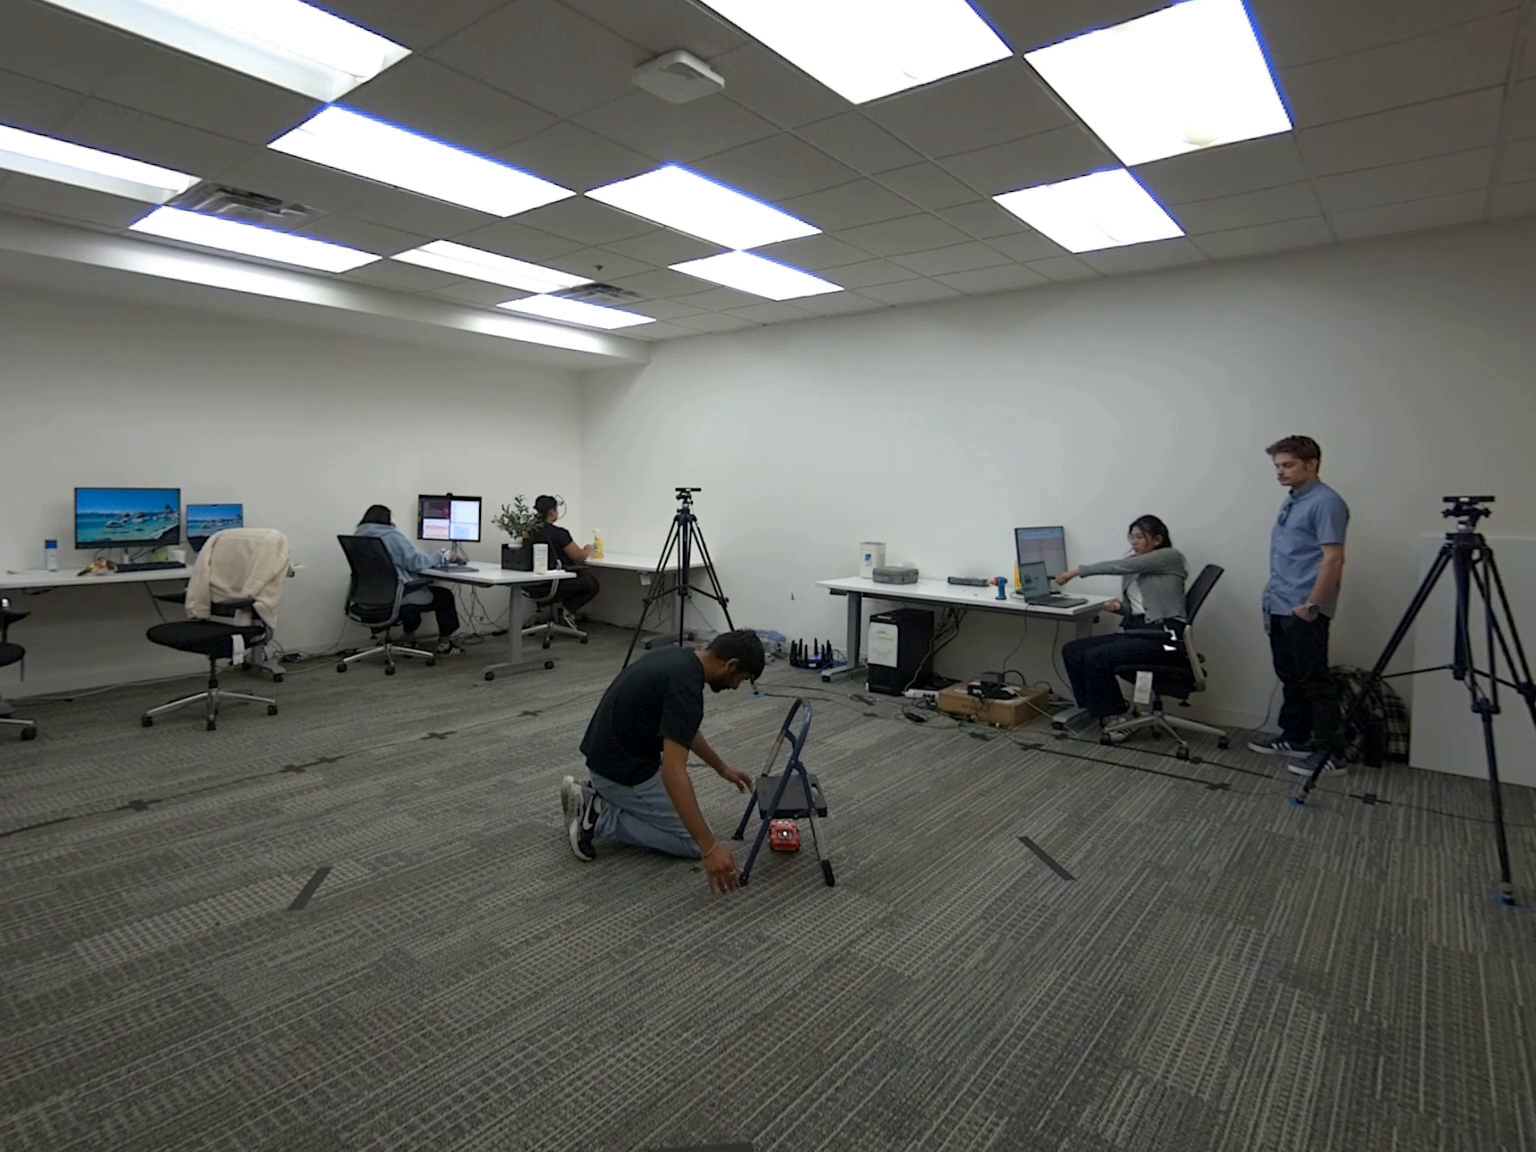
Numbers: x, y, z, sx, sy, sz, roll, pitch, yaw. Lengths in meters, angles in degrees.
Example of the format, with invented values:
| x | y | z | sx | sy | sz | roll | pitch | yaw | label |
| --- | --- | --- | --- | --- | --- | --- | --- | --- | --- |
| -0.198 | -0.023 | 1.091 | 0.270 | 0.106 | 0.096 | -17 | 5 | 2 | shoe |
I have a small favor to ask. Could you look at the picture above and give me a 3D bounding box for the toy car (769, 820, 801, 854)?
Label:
| x | y | z | sx | sy | sz | roll | pitch | yaw | label |
| --- | --- | --- | --- | --- | --- | --- | --- | --- | --- |
| 0.054 | 1.024 | 3.339 | 0.130 | 0.084 | 0.253 | 1 | -5 | -1 | toy car |
